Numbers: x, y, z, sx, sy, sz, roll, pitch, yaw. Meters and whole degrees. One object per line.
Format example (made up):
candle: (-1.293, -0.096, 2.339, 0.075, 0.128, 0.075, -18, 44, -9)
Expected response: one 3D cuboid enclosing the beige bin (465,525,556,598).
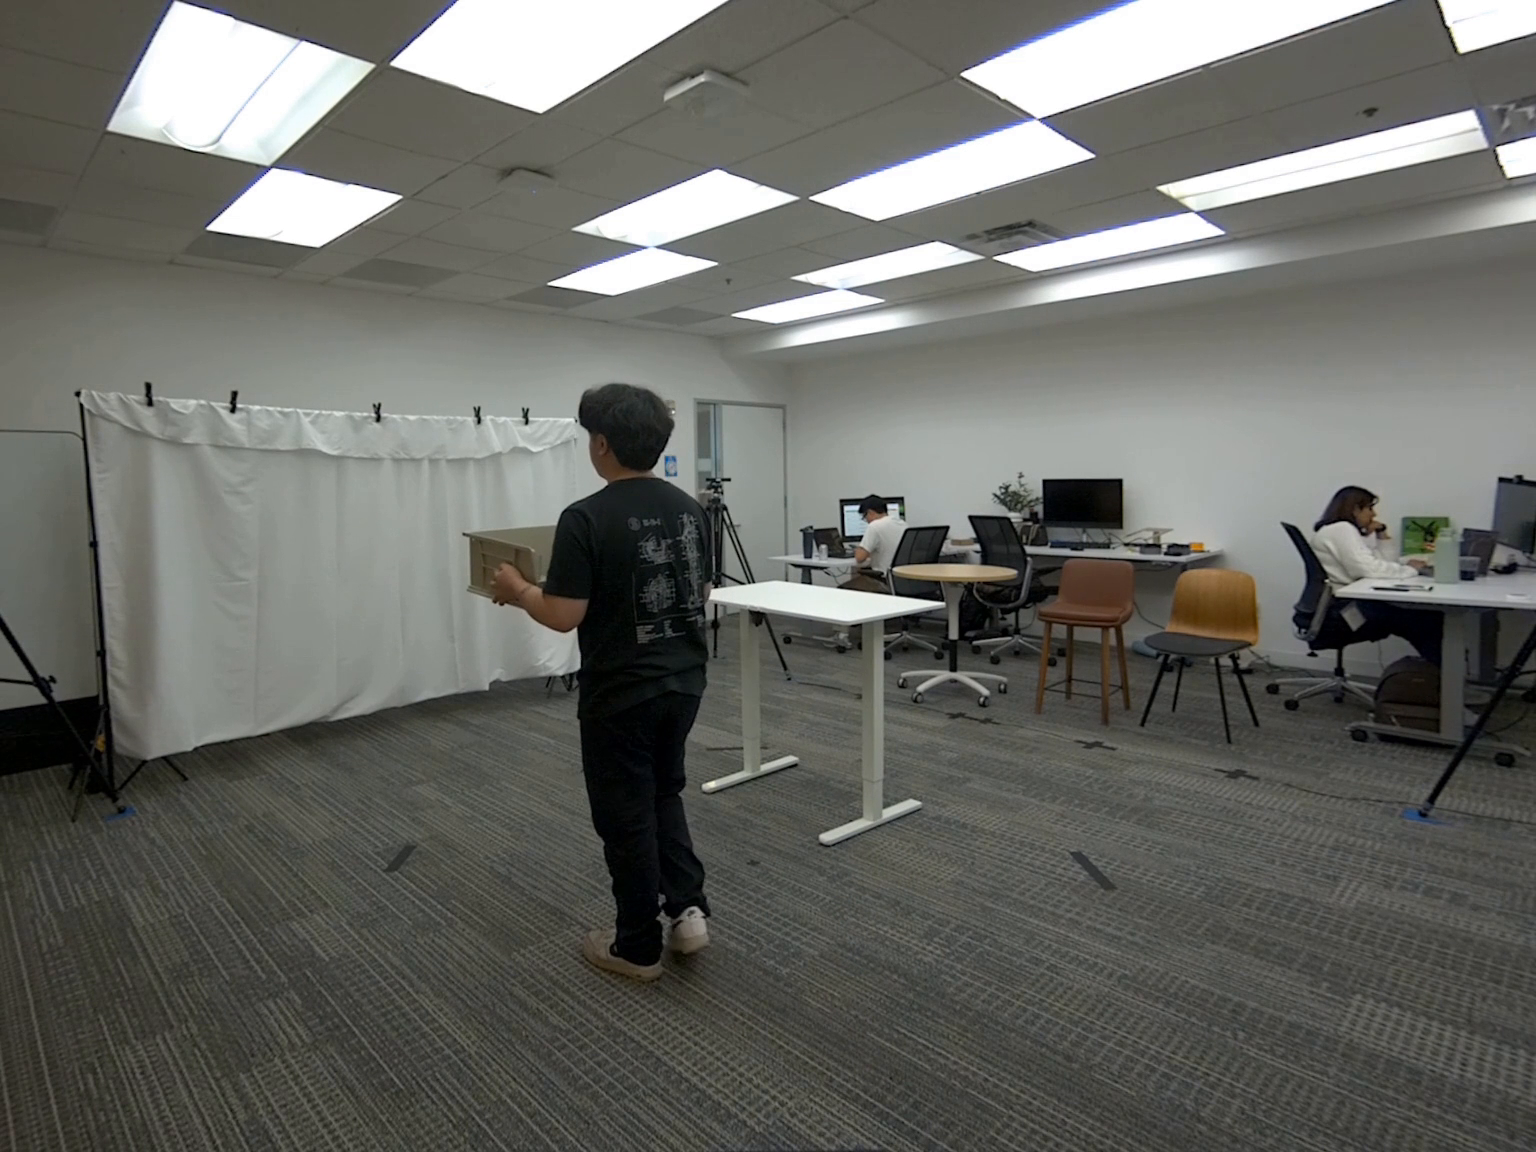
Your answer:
beige bin: (-0.632, -0.039, 2.606, 0.390, 0.187, 0.412, 9, 13, 40)
